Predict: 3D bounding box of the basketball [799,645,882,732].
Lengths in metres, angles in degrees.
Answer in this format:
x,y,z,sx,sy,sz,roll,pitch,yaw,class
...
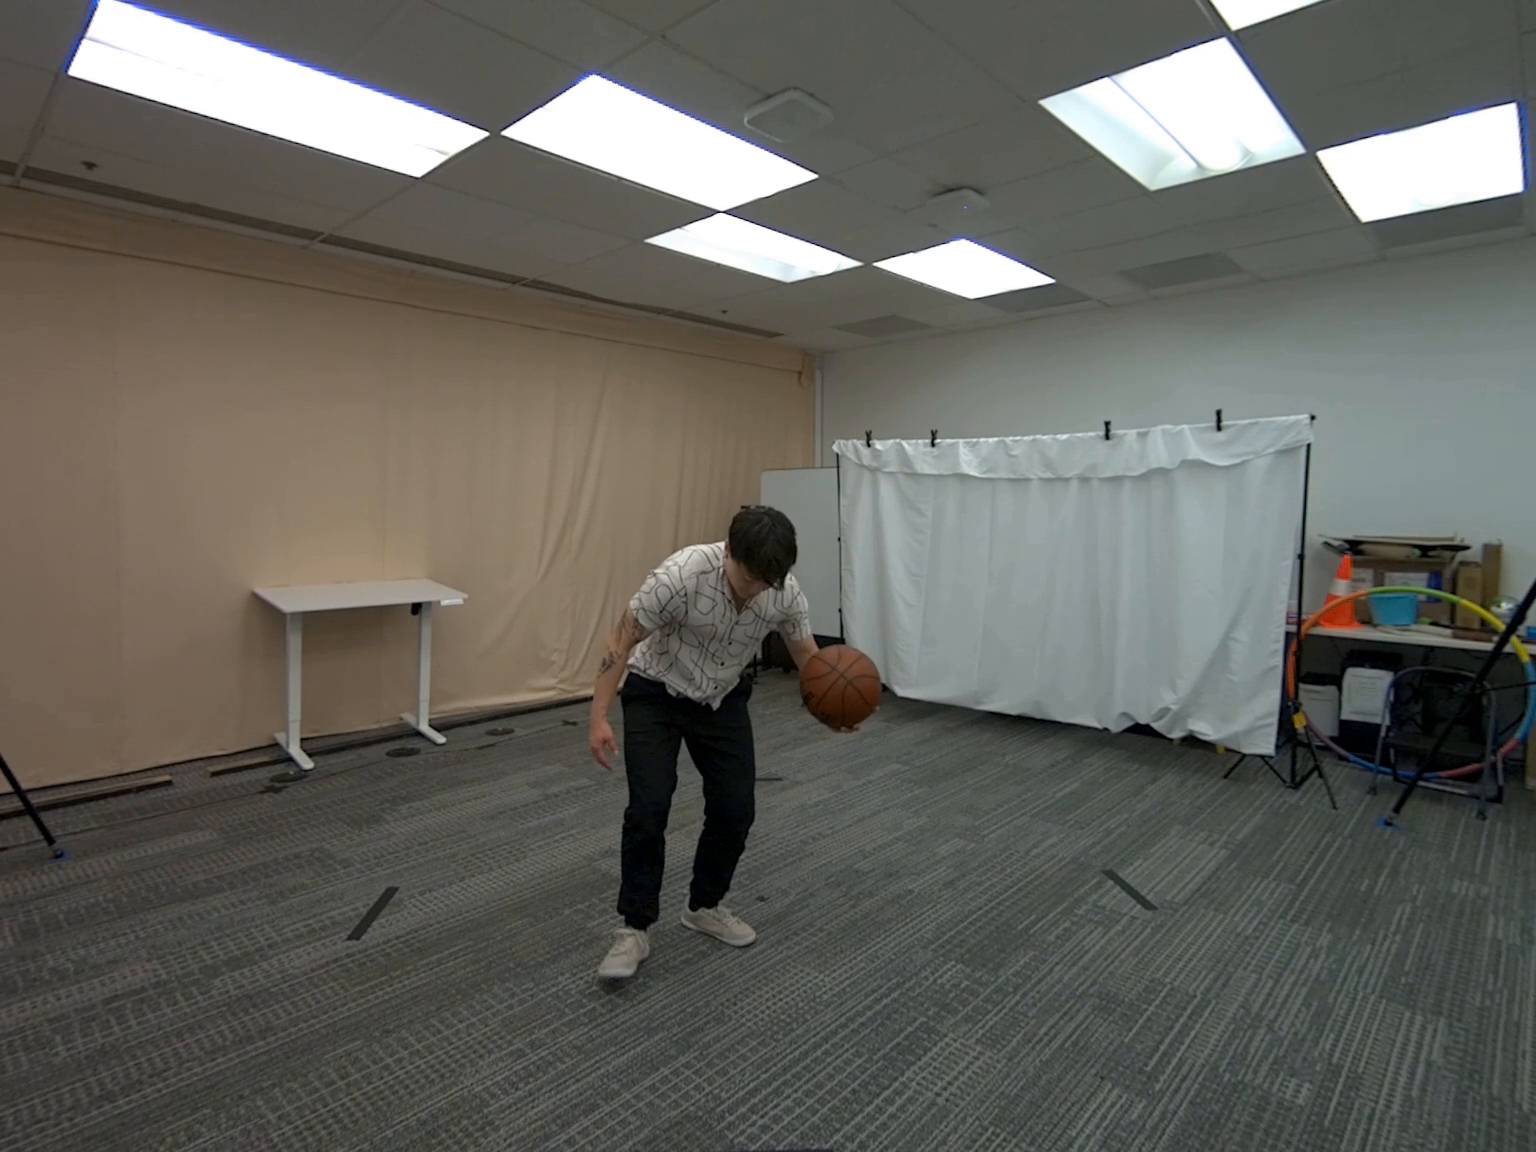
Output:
x,y,z,sx,sy,sz,roll,pitch,yaw,class
0.207,0.329,2.459,0.236,0.235,0.237,0,4,-2,basketball
